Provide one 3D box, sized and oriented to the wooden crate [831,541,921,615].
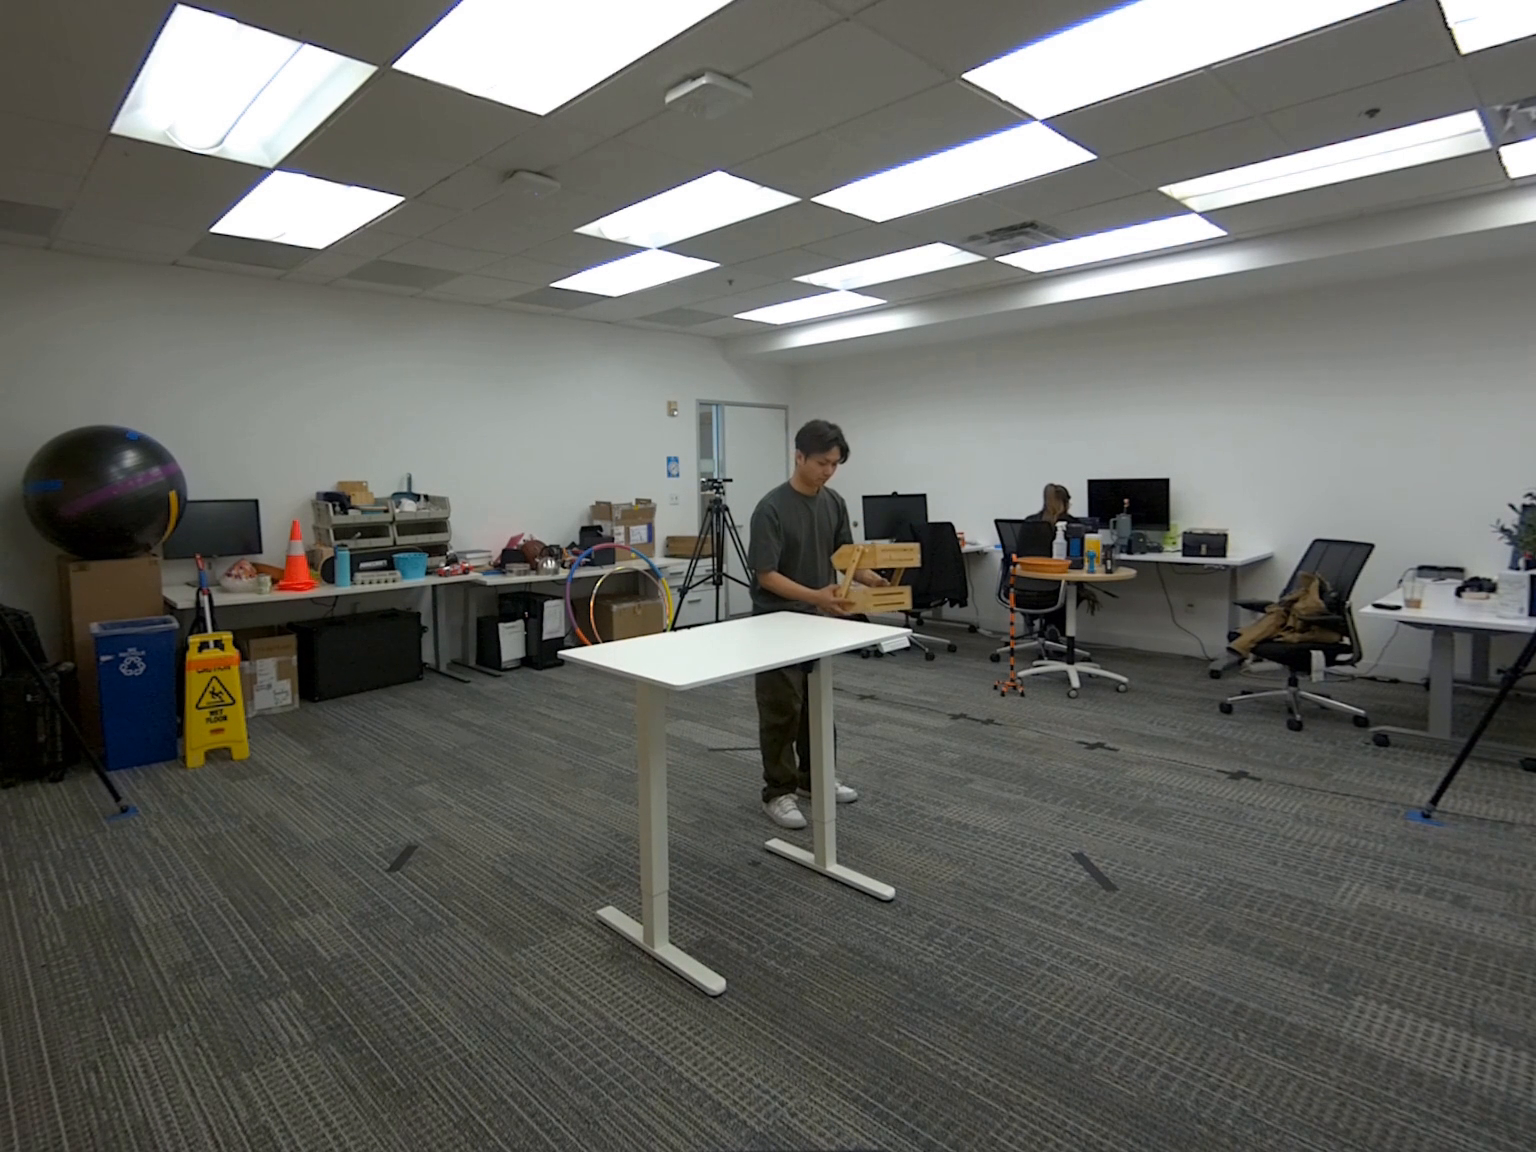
[{"bbox_3d":[0.396,0.006,3.368,0.315,0.274,0.310,-1,-1,-44],"label":"wooden crate"}]
